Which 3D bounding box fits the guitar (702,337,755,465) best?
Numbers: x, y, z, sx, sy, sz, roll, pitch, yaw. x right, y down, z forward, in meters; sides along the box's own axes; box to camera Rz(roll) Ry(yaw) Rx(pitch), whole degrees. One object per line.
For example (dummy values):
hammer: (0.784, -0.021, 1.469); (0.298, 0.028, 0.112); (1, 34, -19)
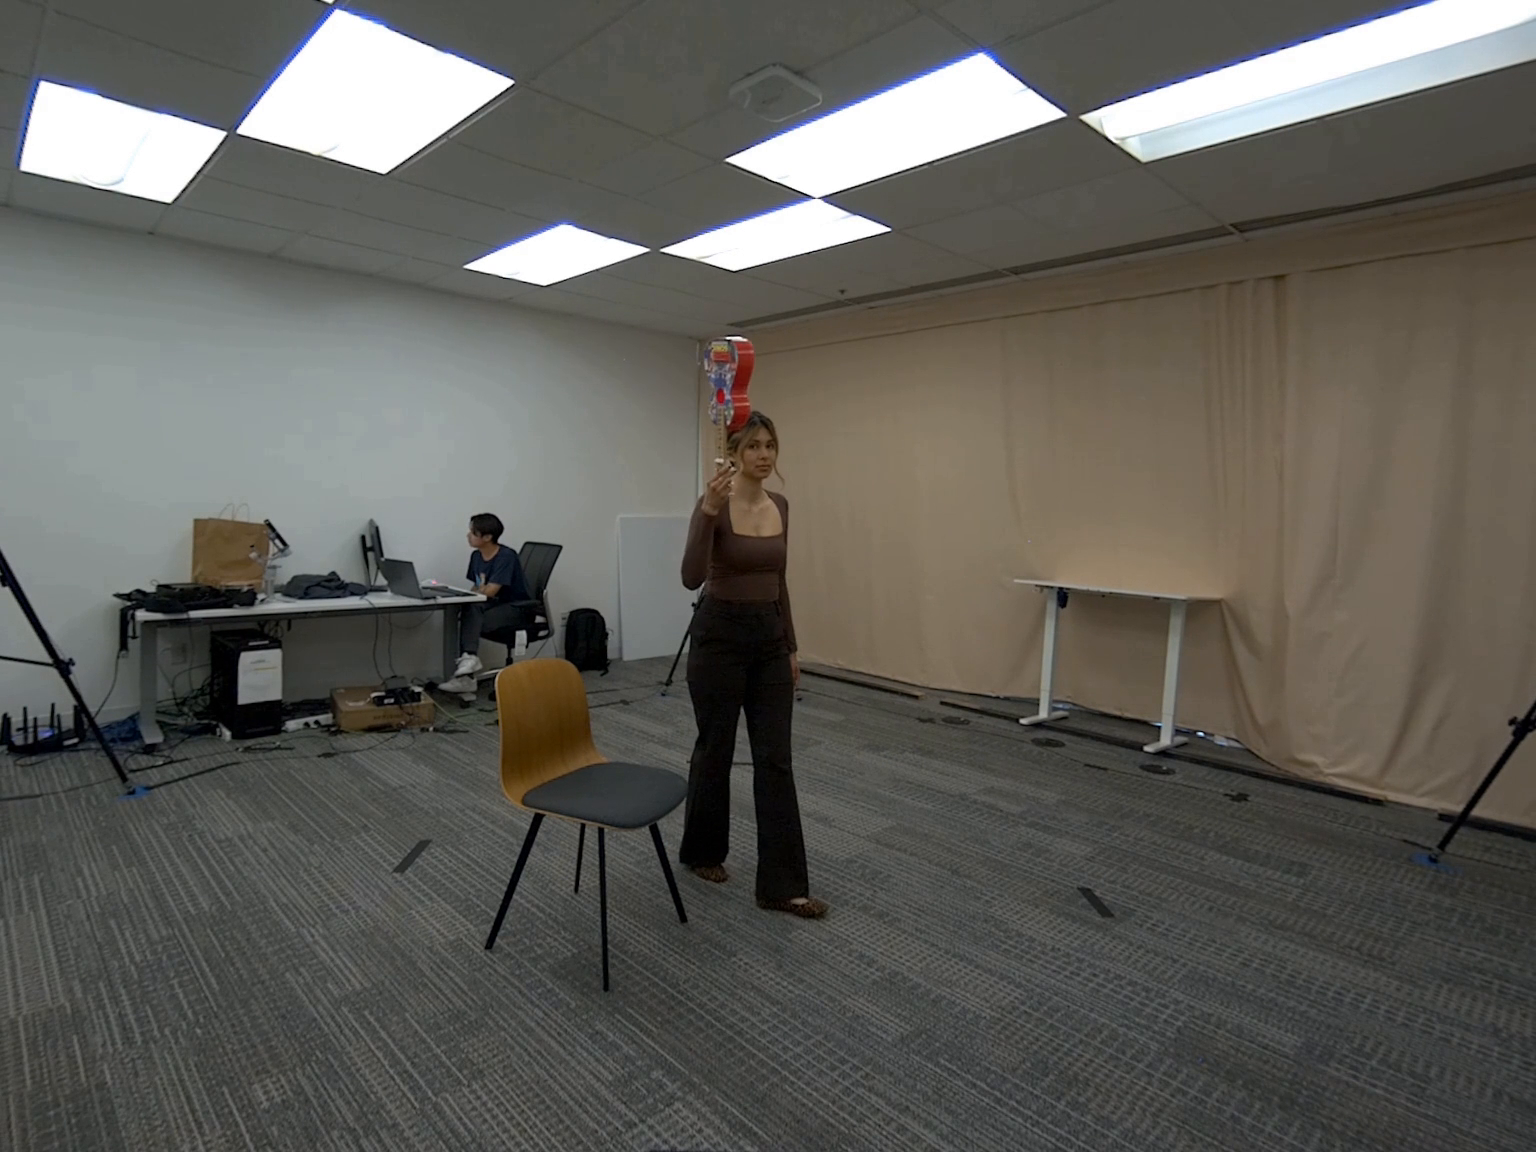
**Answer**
guitar: (-0.148, -0.485, 2.597); (0.069, 0.491, 0.199); (-9, 24, -34)
